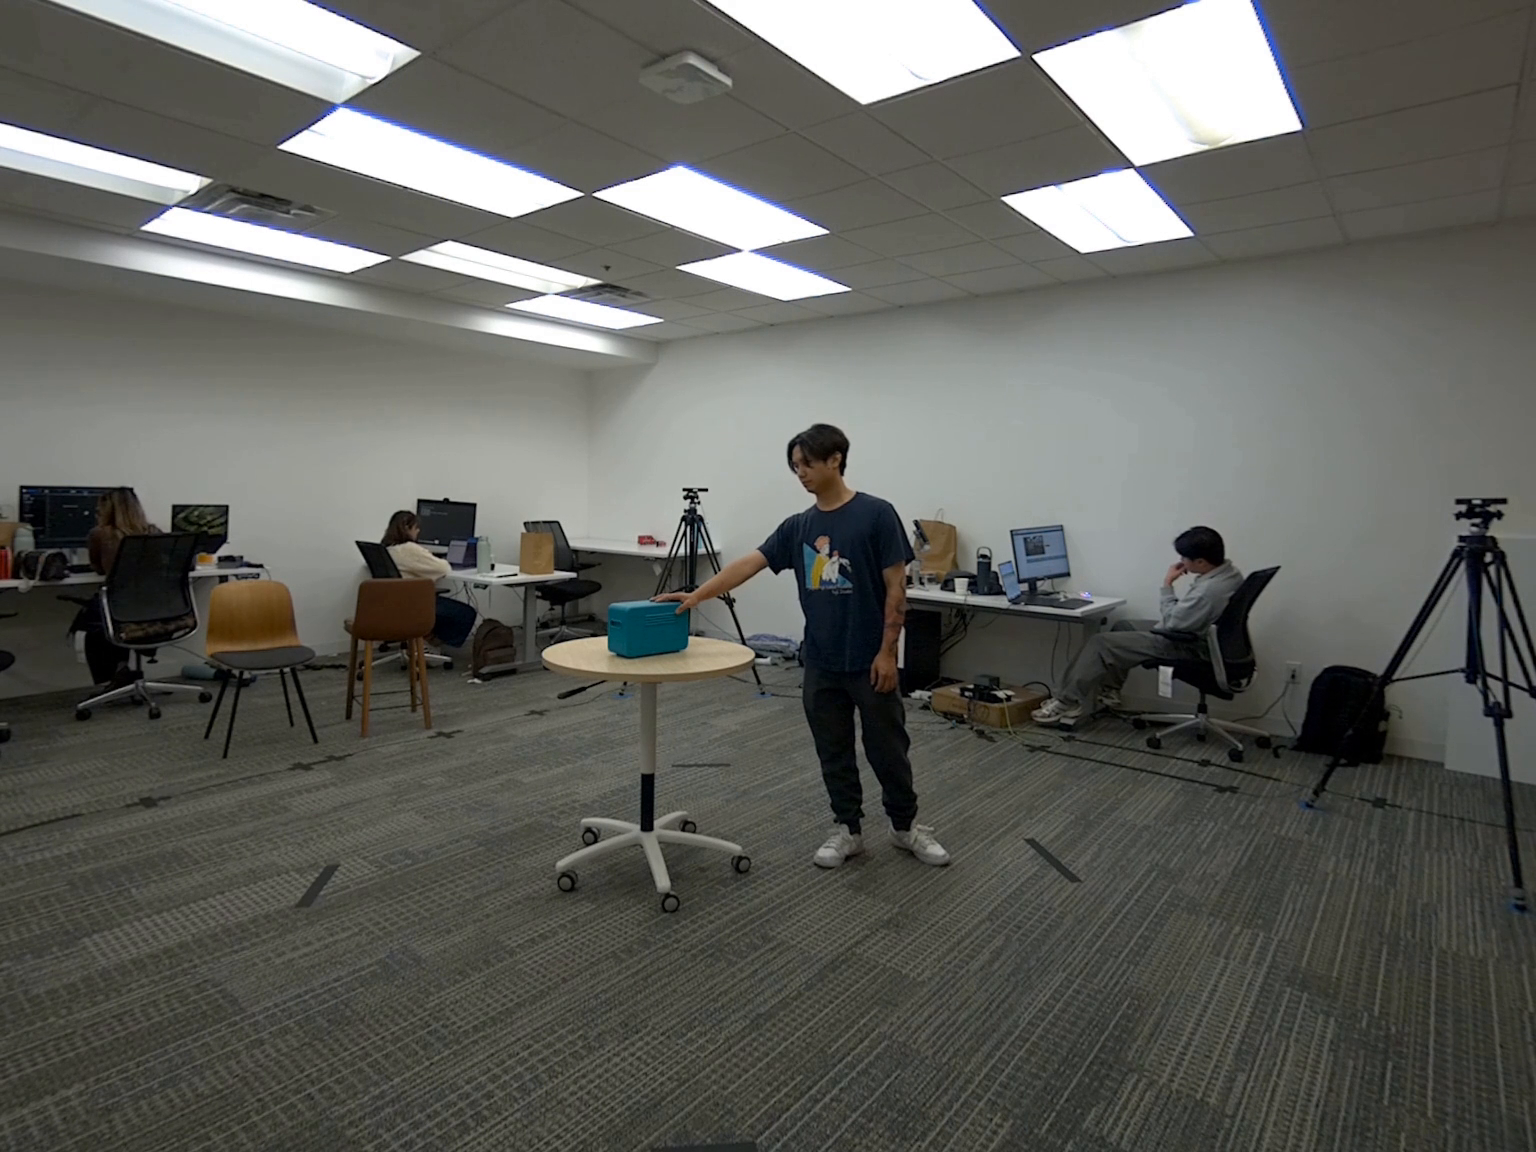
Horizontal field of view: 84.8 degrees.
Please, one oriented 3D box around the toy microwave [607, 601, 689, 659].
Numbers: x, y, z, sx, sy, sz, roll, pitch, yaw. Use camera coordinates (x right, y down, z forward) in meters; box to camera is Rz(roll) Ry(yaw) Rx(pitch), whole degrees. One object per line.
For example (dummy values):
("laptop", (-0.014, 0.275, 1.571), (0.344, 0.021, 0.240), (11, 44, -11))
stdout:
("toy microwave", (-0.449, 0.184, 3.071), (0.277, 0.184, 0.157), (-2, 5, -42))
